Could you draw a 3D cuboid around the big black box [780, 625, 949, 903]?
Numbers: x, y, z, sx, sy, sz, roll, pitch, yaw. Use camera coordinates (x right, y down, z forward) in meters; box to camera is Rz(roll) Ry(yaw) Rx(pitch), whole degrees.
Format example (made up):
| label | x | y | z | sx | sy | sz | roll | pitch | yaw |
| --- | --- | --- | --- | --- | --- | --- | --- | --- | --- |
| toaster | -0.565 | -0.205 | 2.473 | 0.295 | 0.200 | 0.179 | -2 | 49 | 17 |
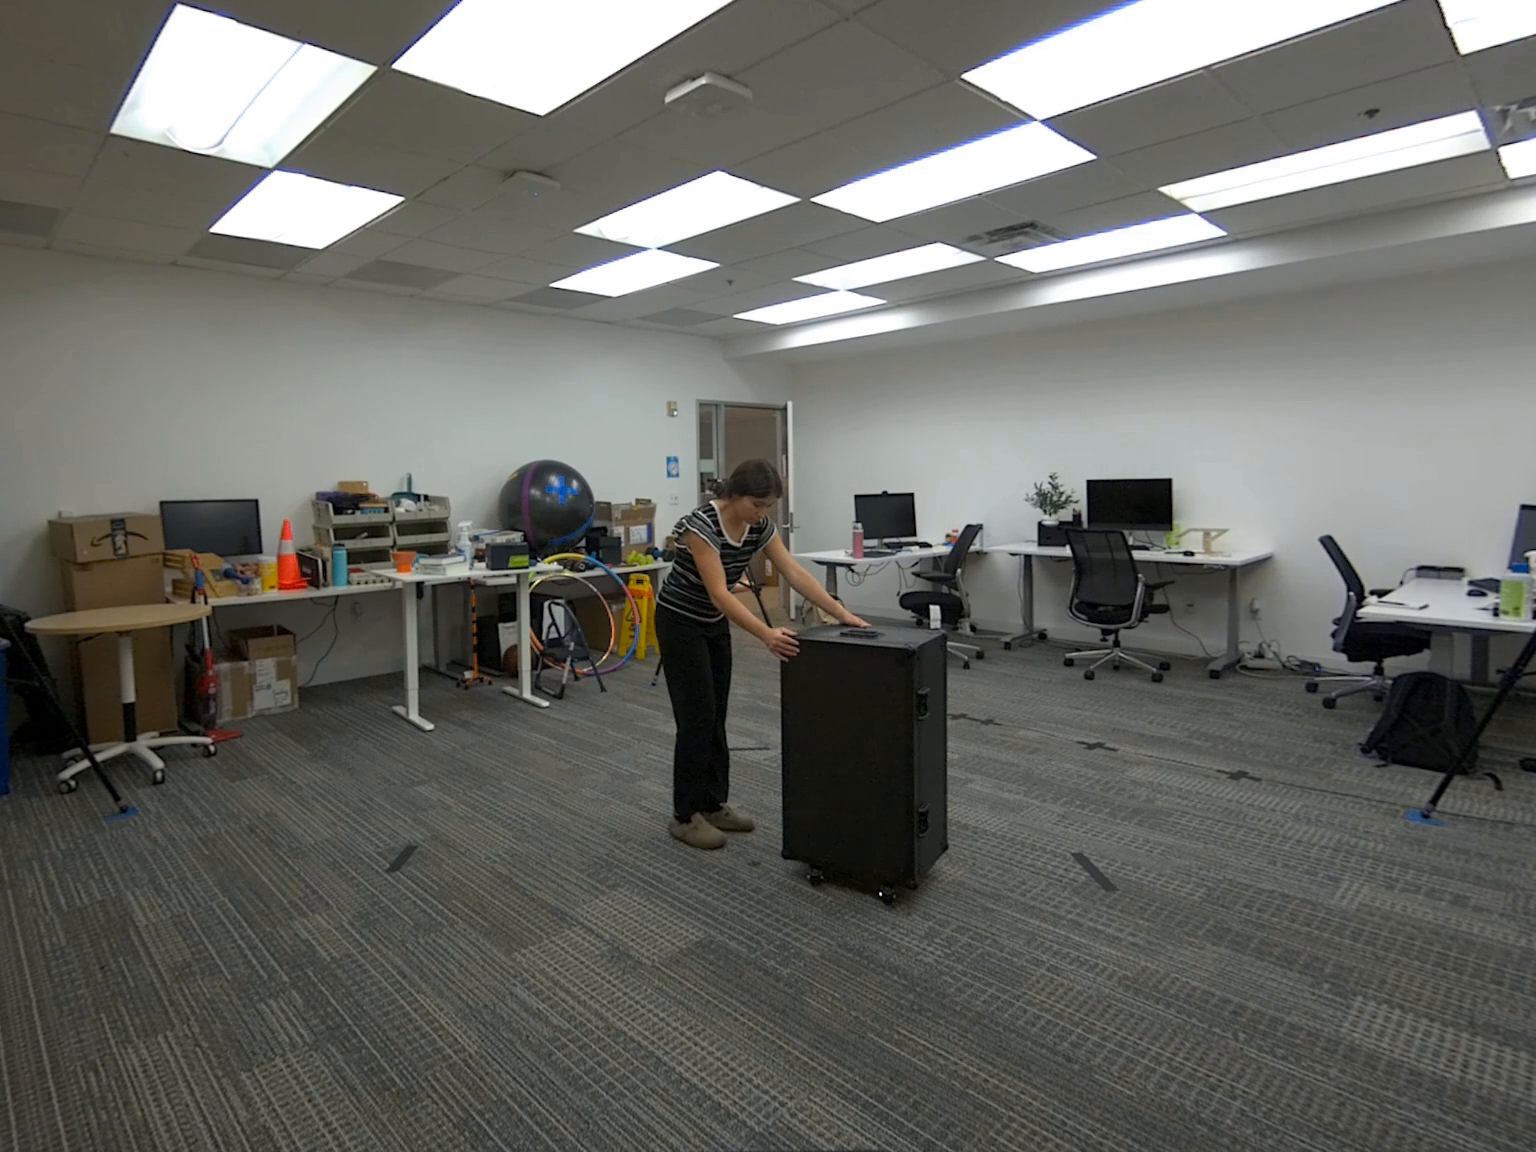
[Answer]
| label | x | y | z | sx | sy | sz | roll | pitch | yaw |
| --- | --- | --- | --- | --- | --- | --- | --- | --- | --- |
| big black box | 0.342 | 0.628 | 2.997 | 0.535 | 0.860 | 0.387 | 1 | 3 | 31 |
